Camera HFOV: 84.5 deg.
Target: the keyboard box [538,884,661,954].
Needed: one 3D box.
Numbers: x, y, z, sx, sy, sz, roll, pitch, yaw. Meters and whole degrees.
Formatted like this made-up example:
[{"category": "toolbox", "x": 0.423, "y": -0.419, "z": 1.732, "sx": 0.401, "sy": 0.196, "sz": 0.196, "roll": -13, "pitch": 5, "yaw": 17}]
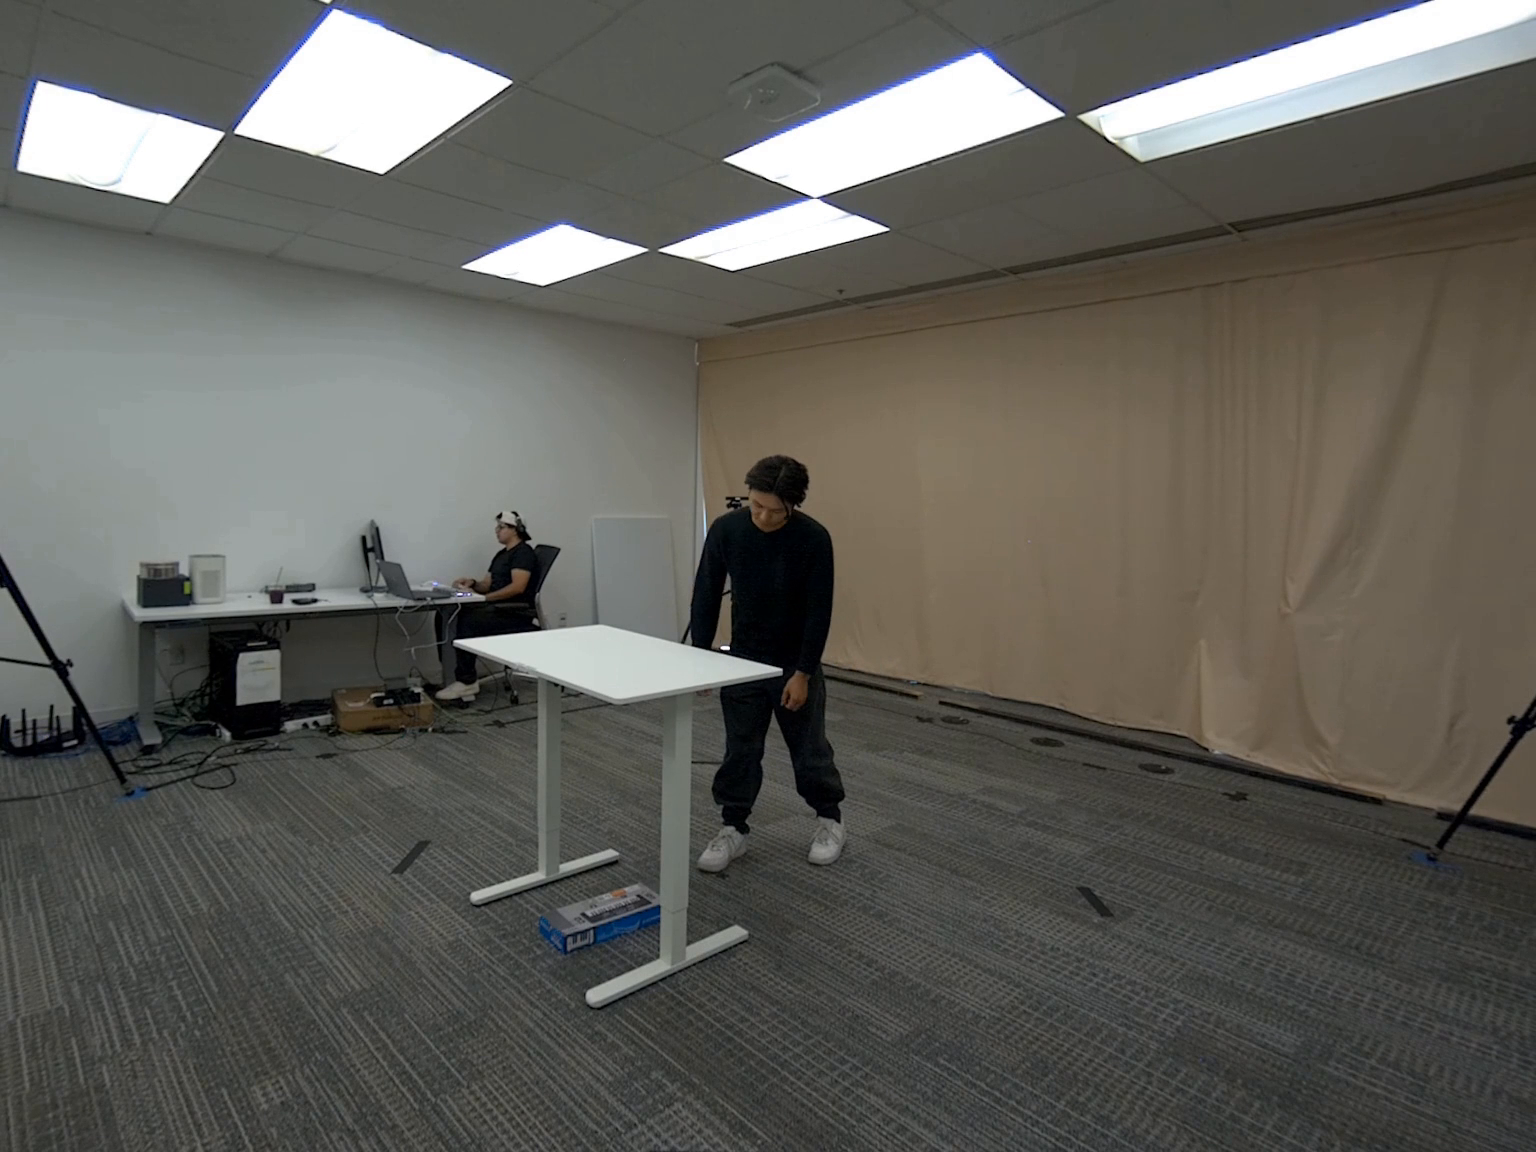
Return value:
[{"category": "keyboard box", "x": -0.514, "y": 1.104, "z": 2.741, "sx": 0.427, "sy": 0.059, "sz": 0.180, "roll": -3, "pitch": 6, "yaw": -39}]
